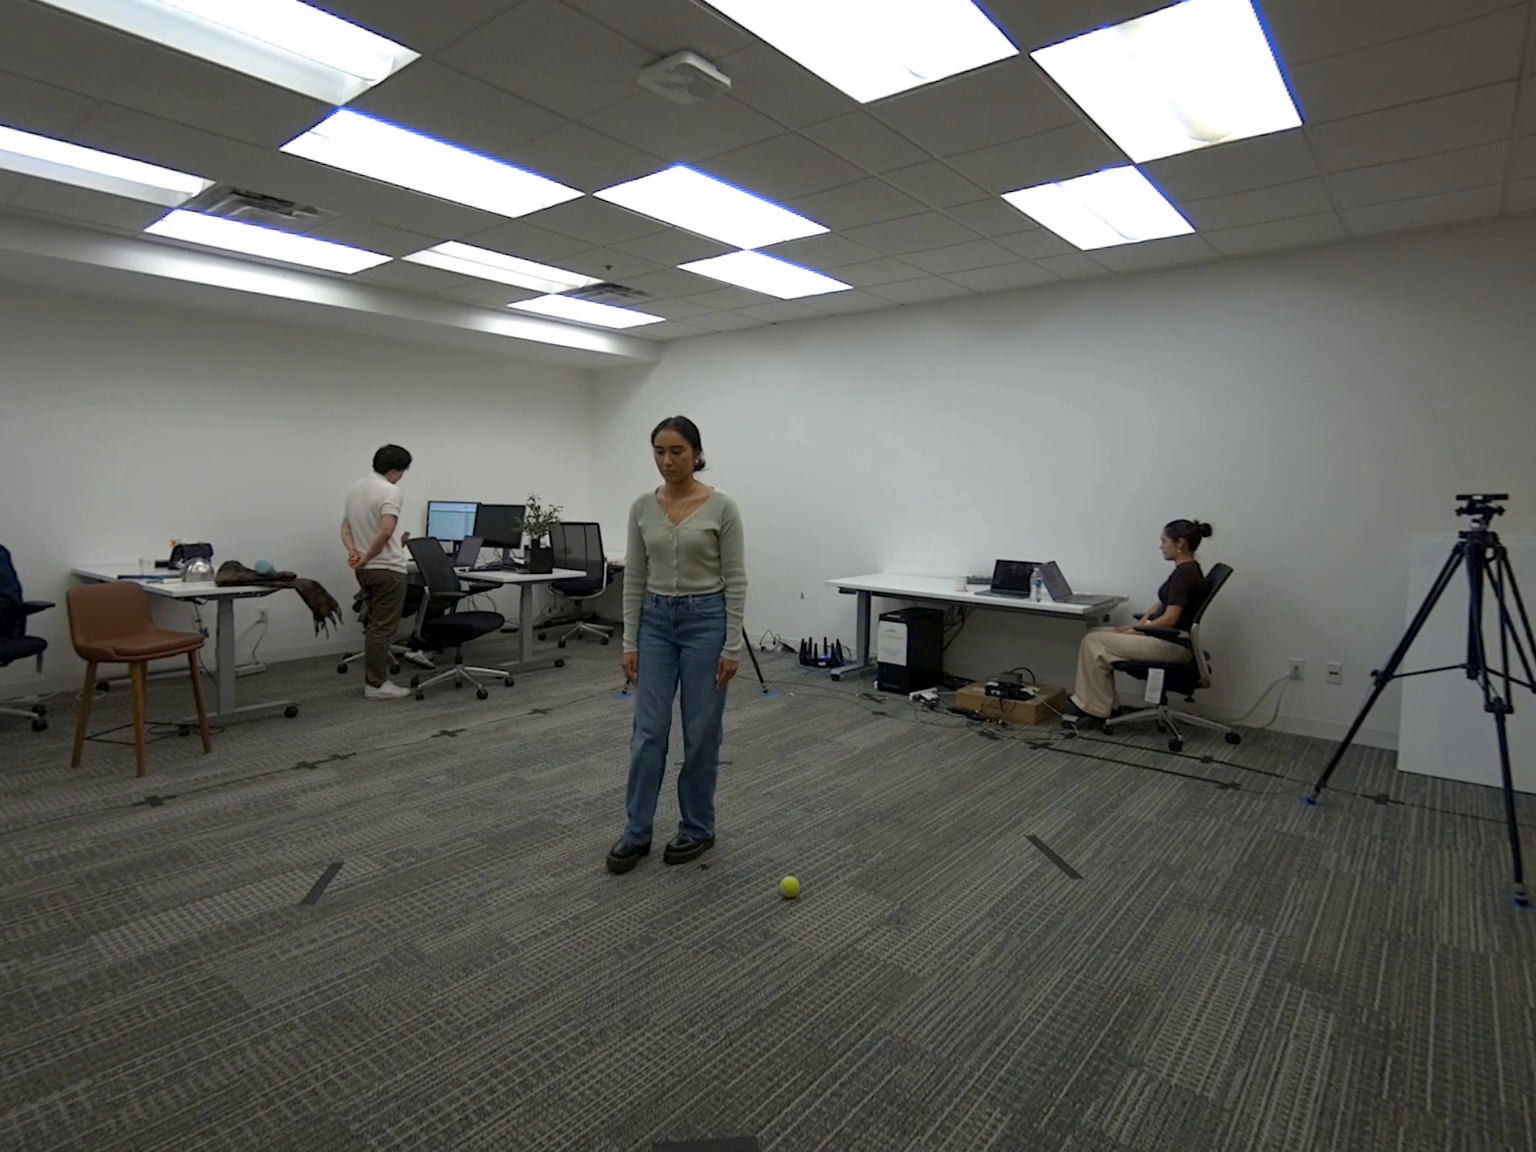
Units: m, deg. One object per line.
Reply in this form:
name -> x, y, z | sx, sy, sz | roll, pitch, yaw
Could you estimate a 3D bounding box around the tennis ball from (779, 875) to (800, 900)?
tennis ball -> 0.073, 1.042, 2.901 | 0.066, 0.066, 0.067 | 1, 4, -2
